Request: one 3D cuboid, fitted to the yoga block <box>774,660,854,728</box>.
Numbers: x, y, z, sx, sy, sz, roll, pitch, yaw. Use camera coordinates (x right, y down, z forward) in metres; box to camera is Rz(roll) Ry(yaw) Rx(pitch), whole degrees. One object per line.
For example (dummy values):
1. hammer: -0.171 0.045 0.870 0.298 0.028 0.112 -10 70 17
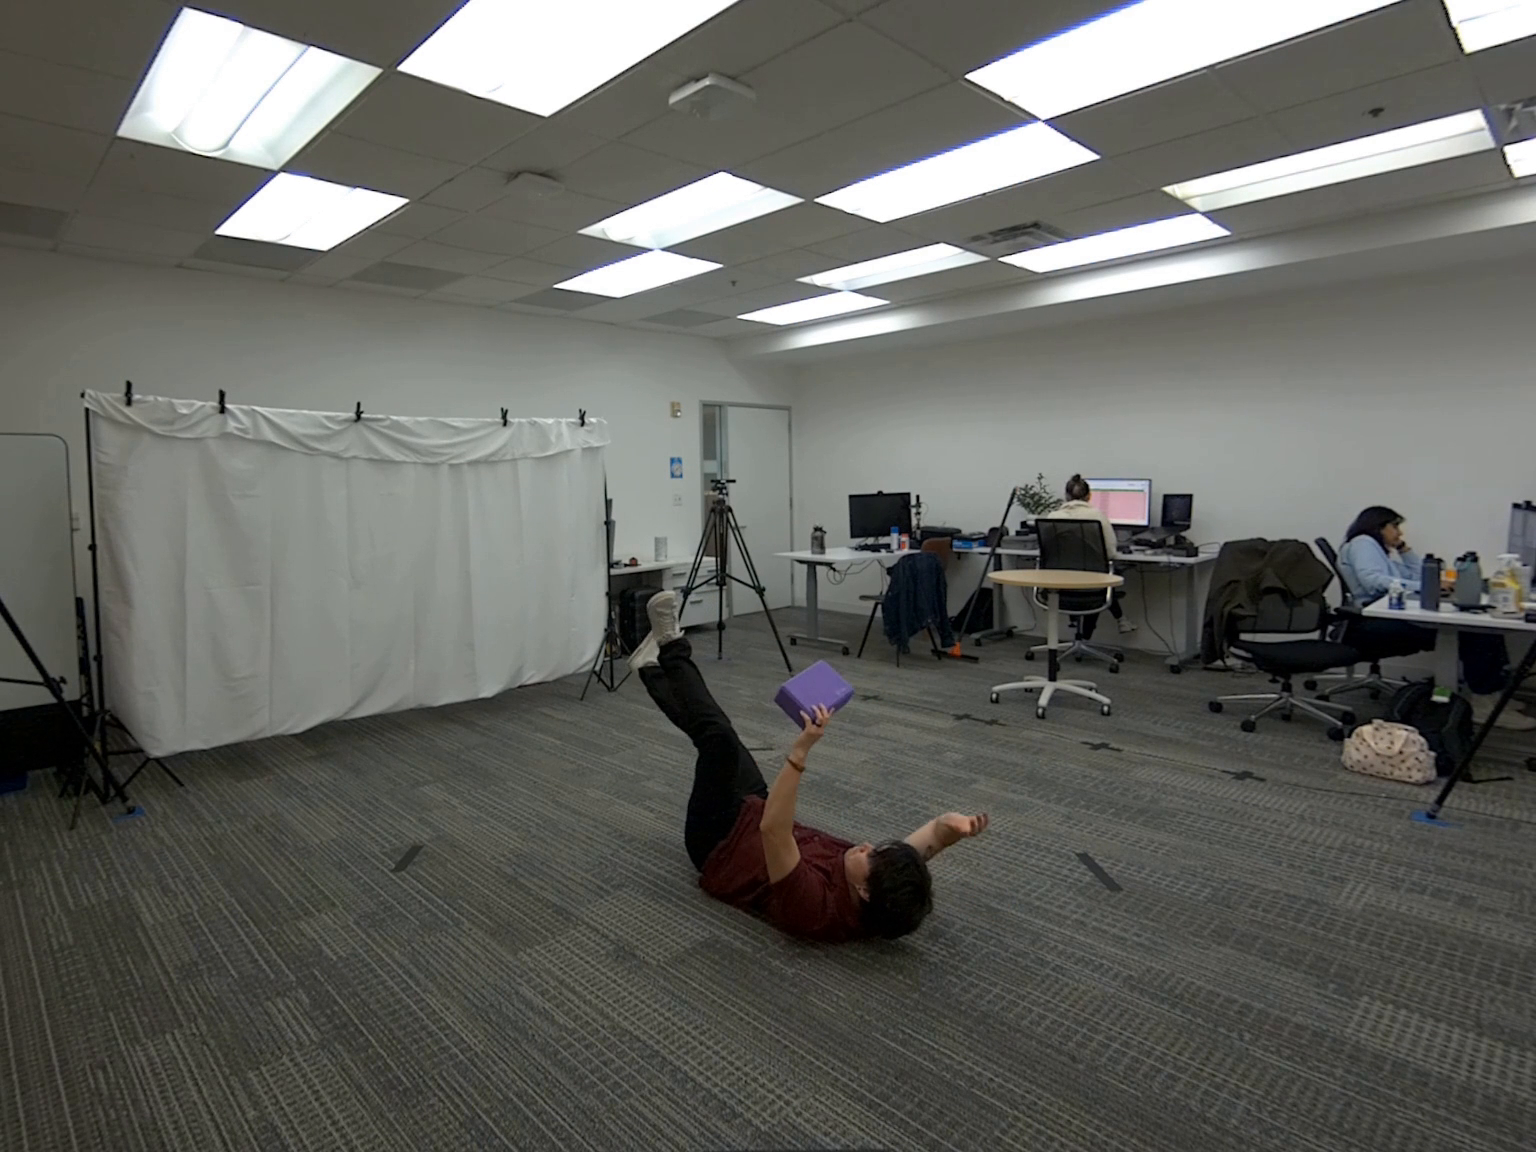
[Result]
1. yoga block: 0.147 0.369 2.651 0.153 0.075 0.225 41 39 22
